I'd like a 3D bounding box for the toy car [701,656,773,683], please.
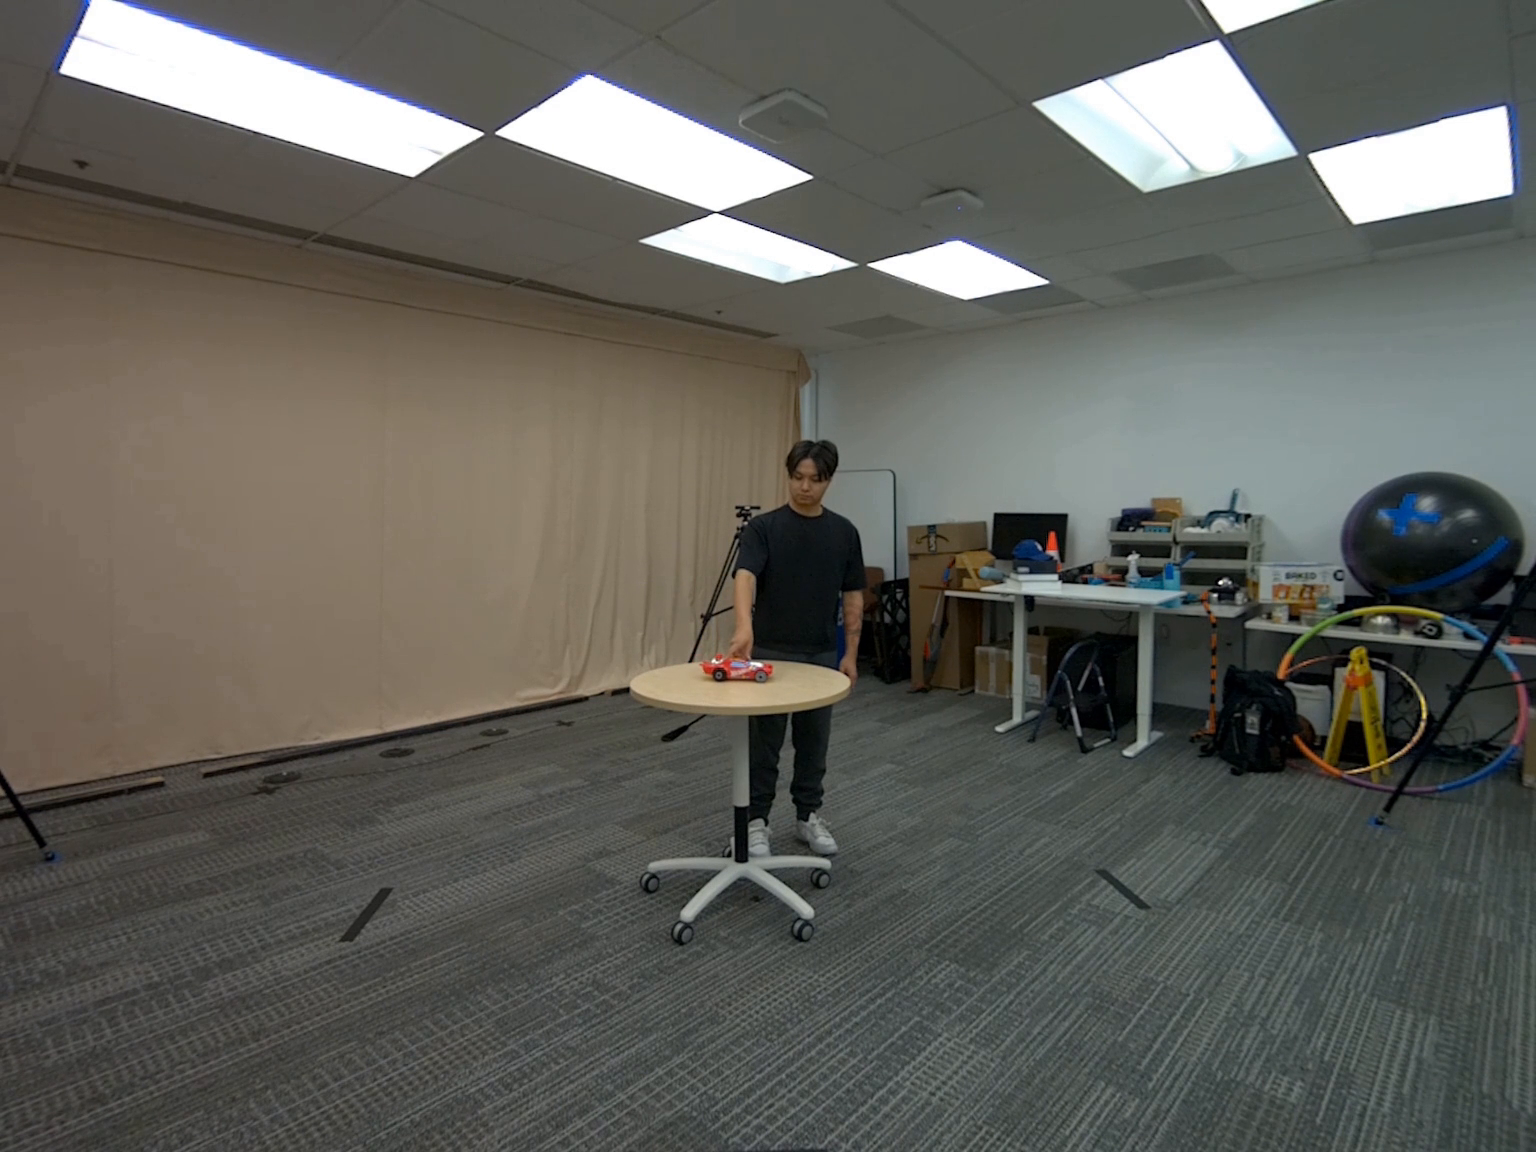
[{"bbox_3d":[-0.111,0.334,2.960,0.257,0.083,0.129,11,6,8],"label":"toy car"}]
